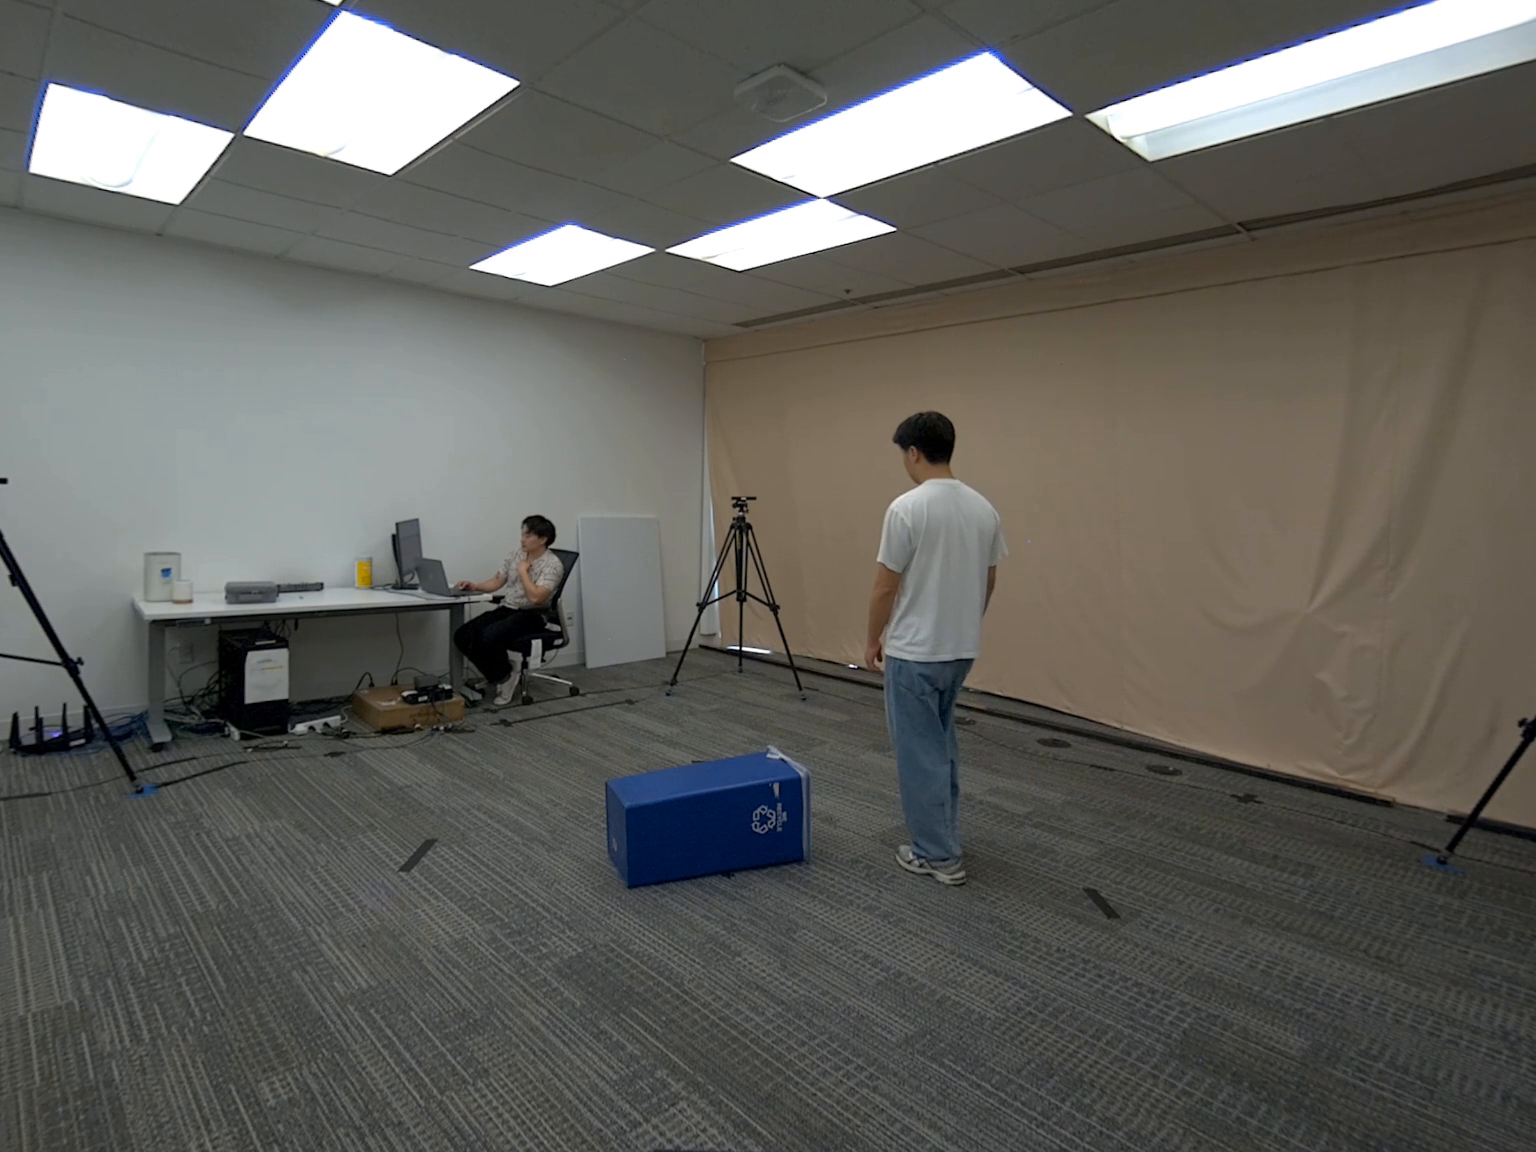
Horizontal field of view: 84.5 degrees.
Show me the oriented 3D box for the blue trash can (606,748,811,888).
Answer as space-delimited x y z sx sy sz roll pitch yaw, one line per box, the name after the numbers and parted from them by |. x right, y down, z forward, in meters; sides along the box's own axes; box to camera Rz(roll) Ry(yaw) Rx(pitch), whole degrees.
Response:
-0.242 0.927 3.225 0.702 0.377 0.381 -4 5 -23 | blue trash can
